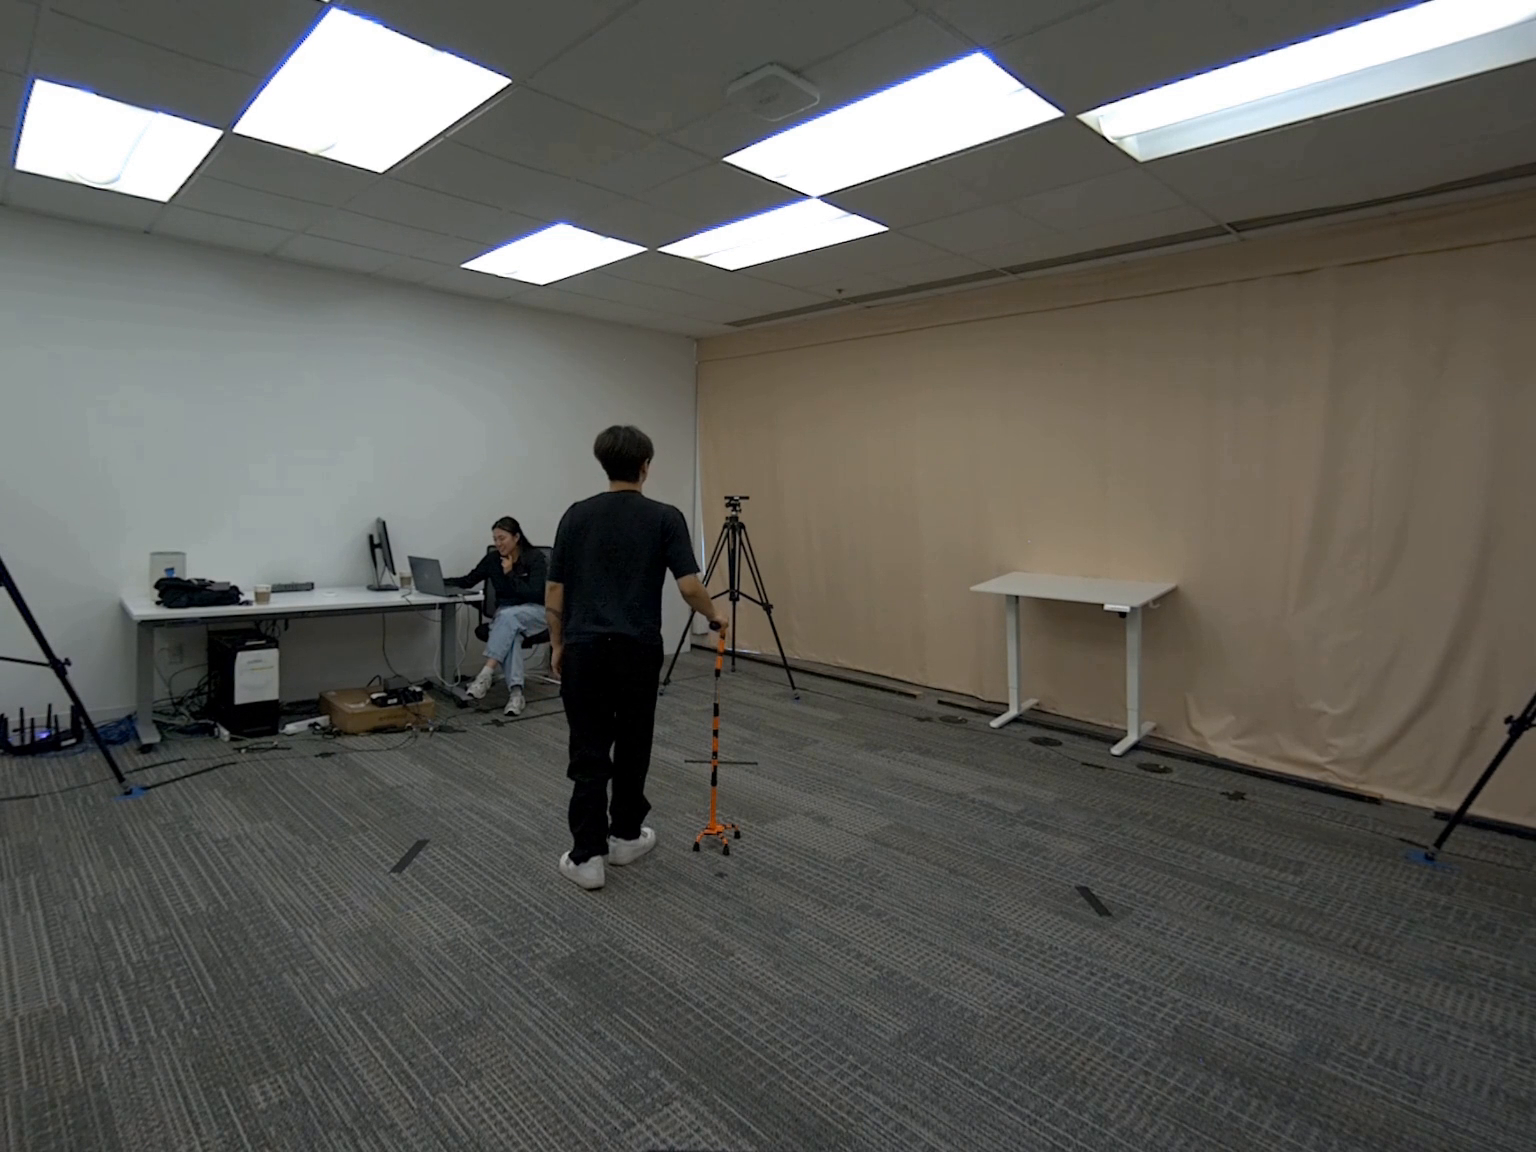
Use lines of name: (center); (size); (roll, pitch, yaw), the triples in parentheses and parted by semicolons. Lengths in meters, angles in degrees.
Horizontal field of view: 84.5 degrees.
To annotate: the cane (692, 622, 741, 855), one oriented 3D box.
cane: (-0.198, 0.629, 3.370); (0.153, 0.906, 0.205); (1, 2, 11)
